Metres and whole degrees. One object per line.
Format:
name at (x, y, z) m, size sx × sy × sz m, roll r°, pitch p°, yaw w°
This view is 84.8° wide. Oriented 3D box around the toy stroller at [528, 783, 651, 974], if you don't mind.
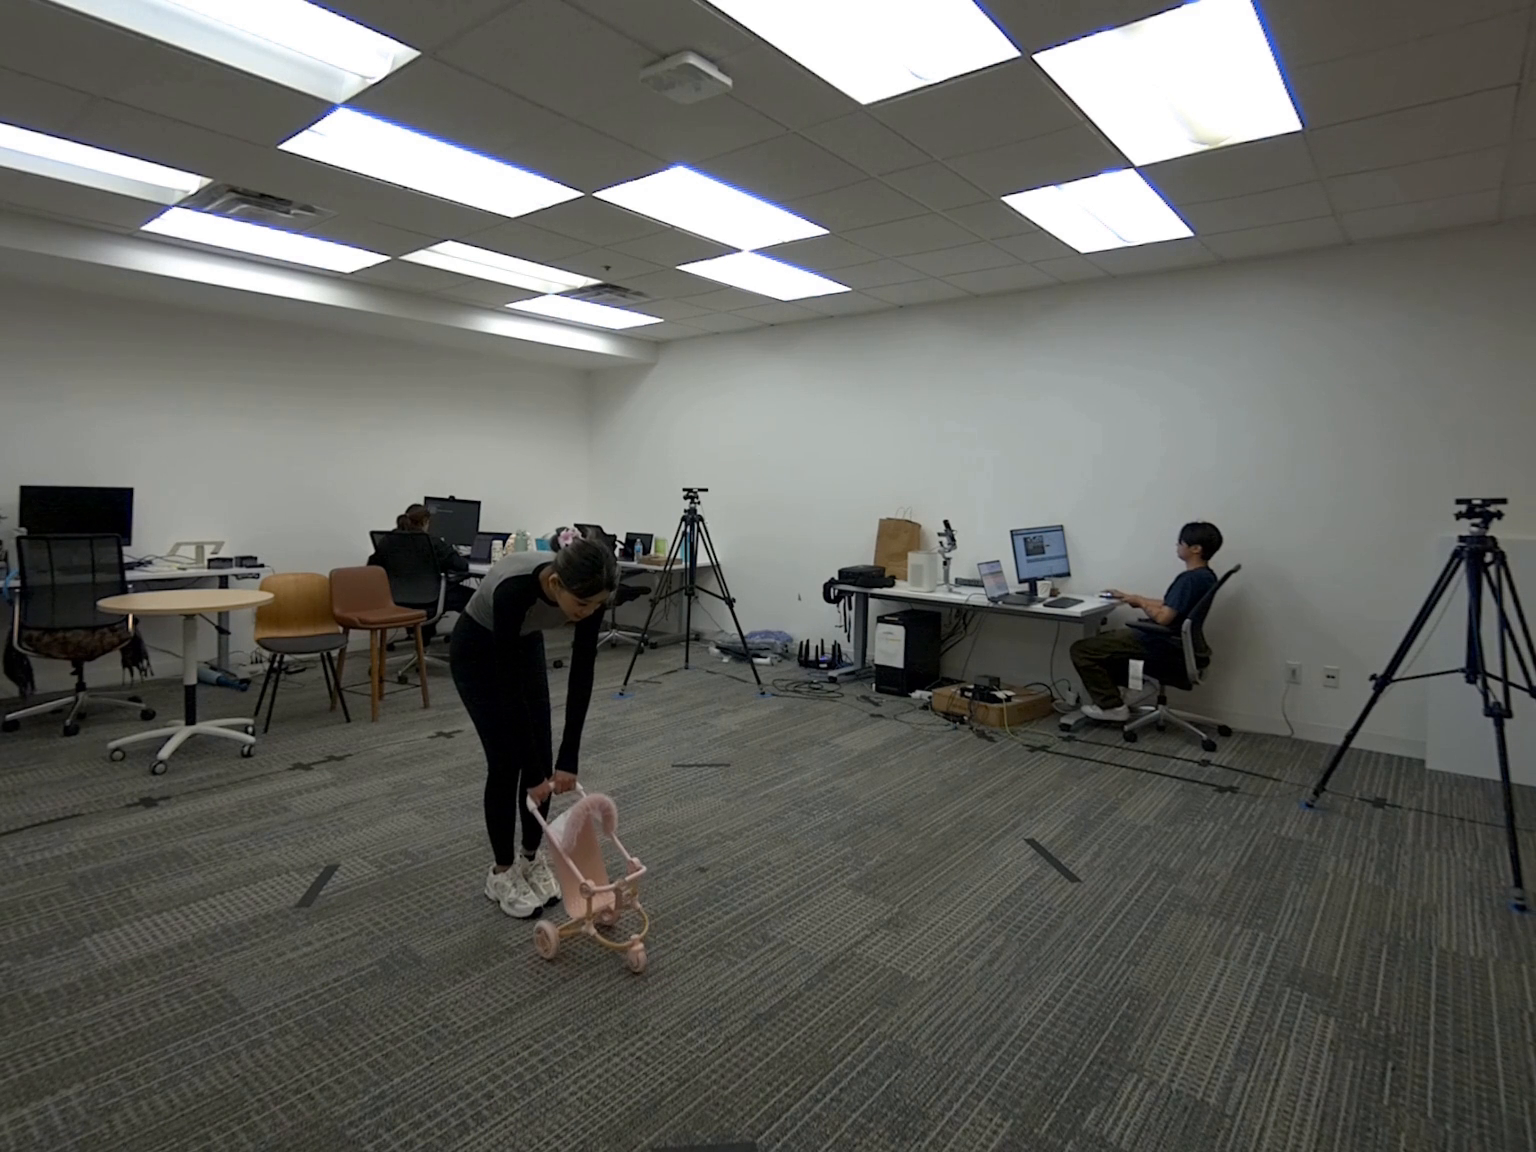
toy stroller at (-0.526, 0.889, 2.536) m, size 0.349 × 0.538 × 0.273 m, roll -13°, pitch -6°, yaw 40°
